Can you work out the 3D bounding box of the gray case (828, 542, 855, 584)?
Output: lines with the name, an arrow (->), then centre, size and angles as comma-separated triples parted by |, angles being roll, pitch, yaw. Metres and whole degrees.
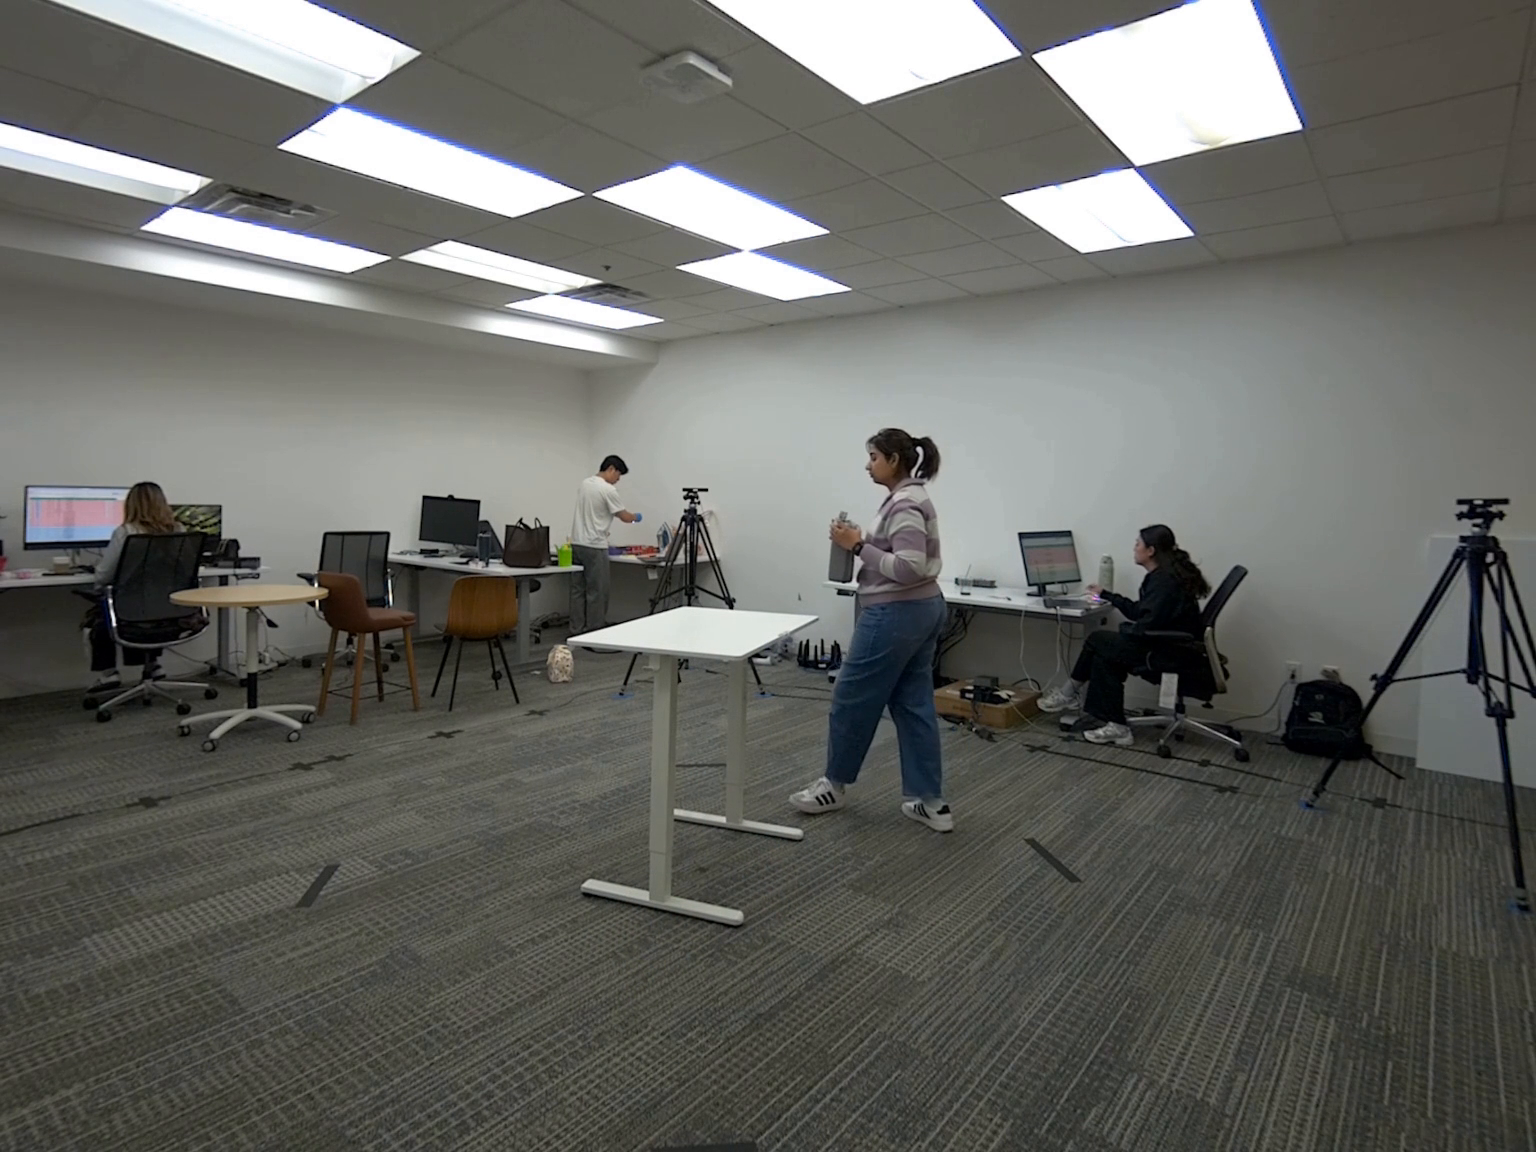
gray case -> 0.305, -0.114, 3.660 | 0.105, 0.259, 0.257 | 6, 9, 3
